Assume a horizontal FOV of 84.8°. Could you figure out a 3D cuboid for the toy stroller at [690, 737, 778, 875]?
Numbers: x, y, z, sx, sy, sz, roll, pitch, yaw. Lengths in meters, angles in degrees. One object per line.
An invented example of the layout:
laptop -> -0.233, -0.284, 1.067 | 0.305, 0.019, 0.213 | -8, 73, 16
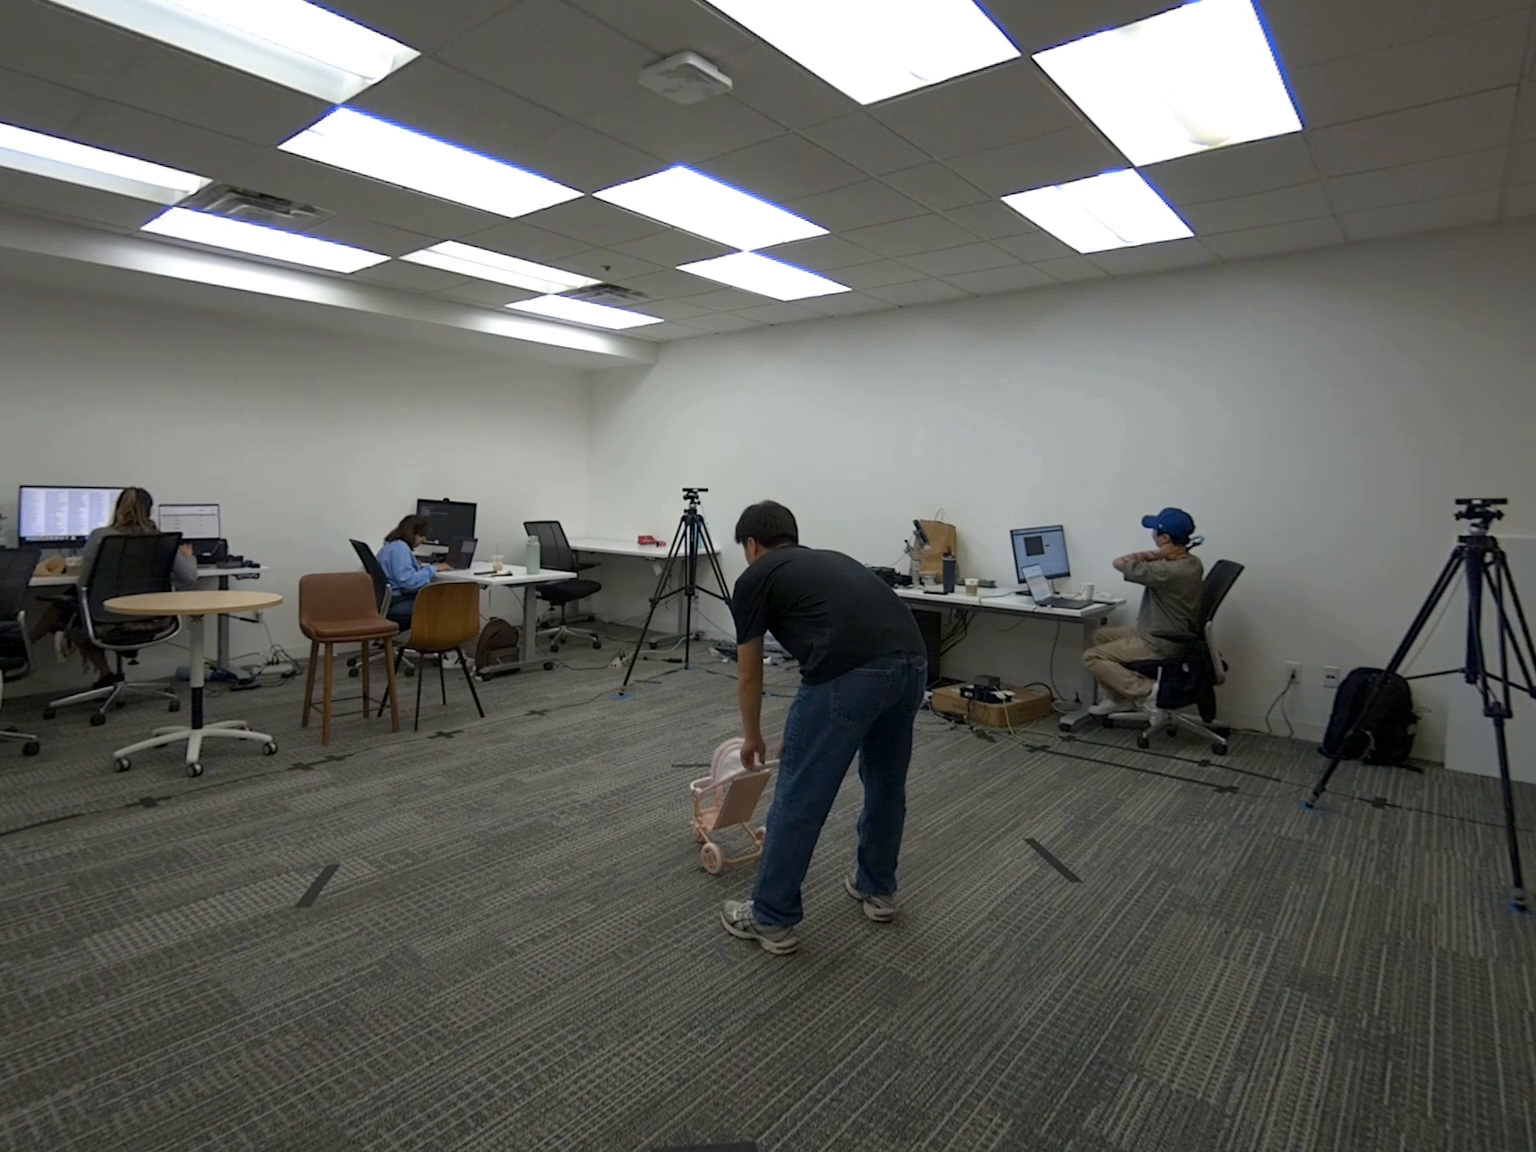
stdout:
toy stroller -> -0.151, 0.837, 3.193 | 0.273, 0.528, 0.355 | -1, 21, -34
